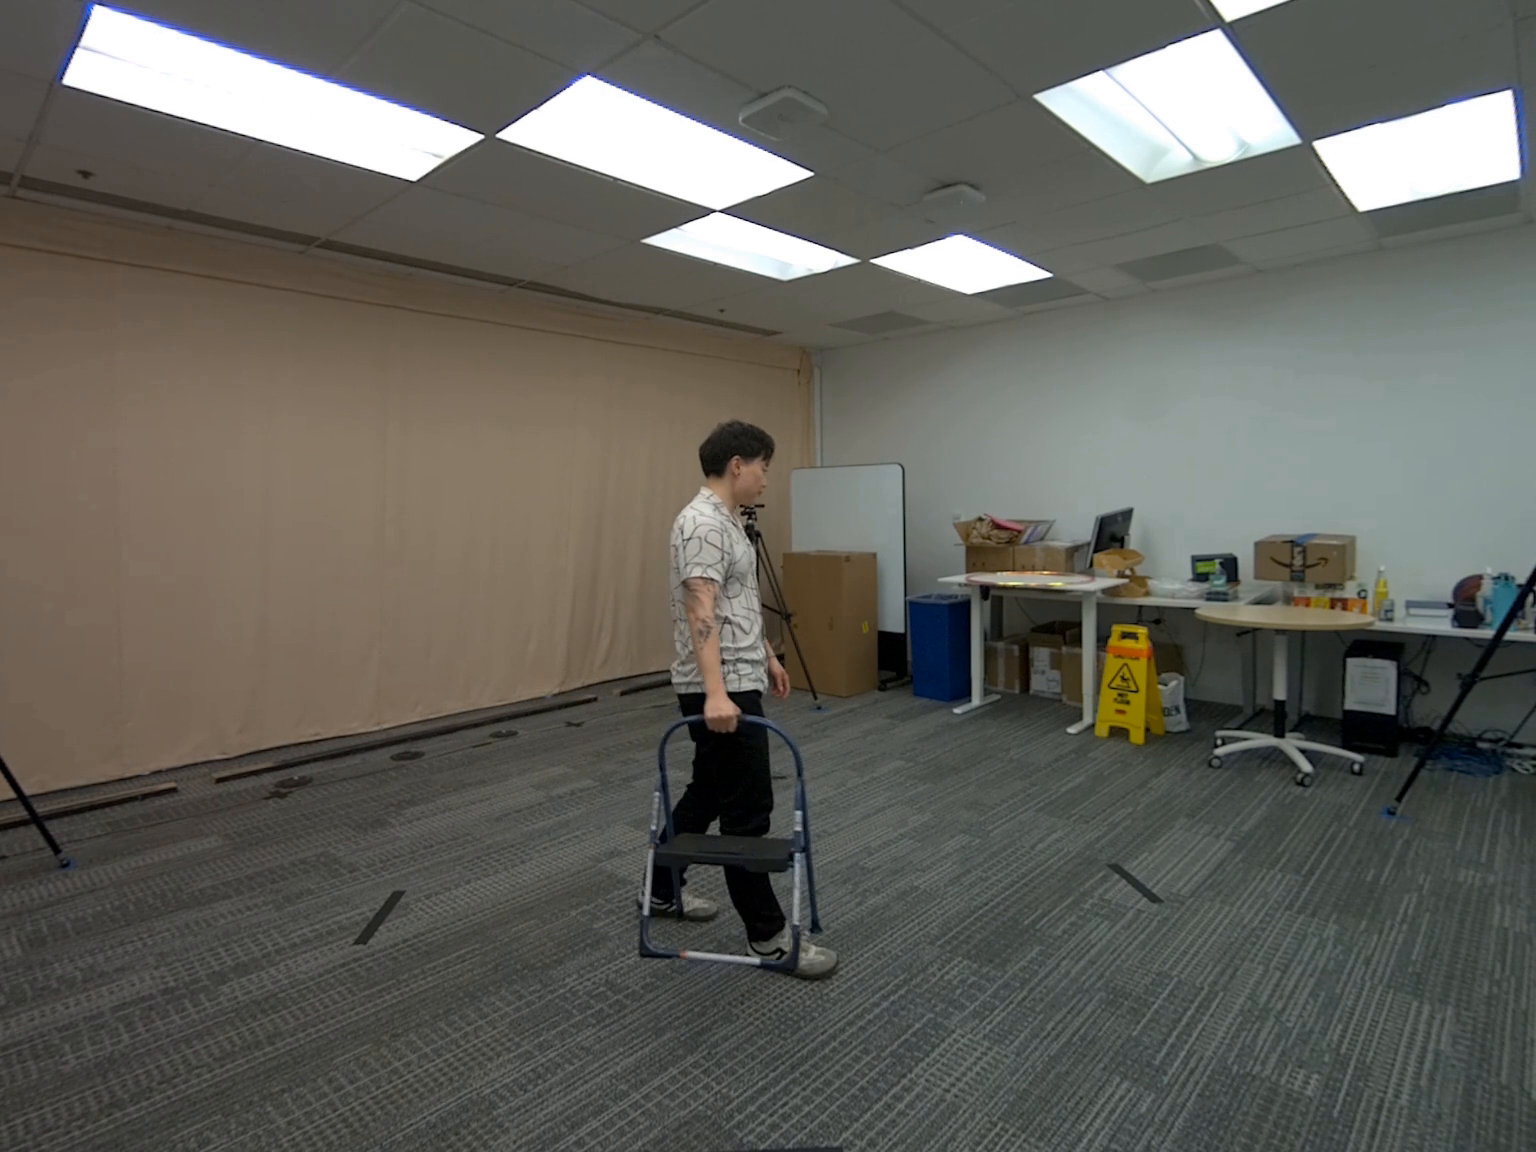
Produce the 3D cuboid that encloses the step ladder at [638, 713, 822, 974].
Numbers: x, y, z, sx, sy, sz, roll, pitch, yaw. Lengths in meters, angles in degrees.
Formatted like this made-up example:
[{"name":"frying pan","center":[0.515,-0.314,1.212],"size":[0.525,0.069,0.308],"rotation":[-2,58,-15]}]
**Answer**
[{"name":"step ladder","center":[-0.099,0.679,2.292],"size":[0.437,0.609,0.342],"rotation":[-3,-8,14]}]
